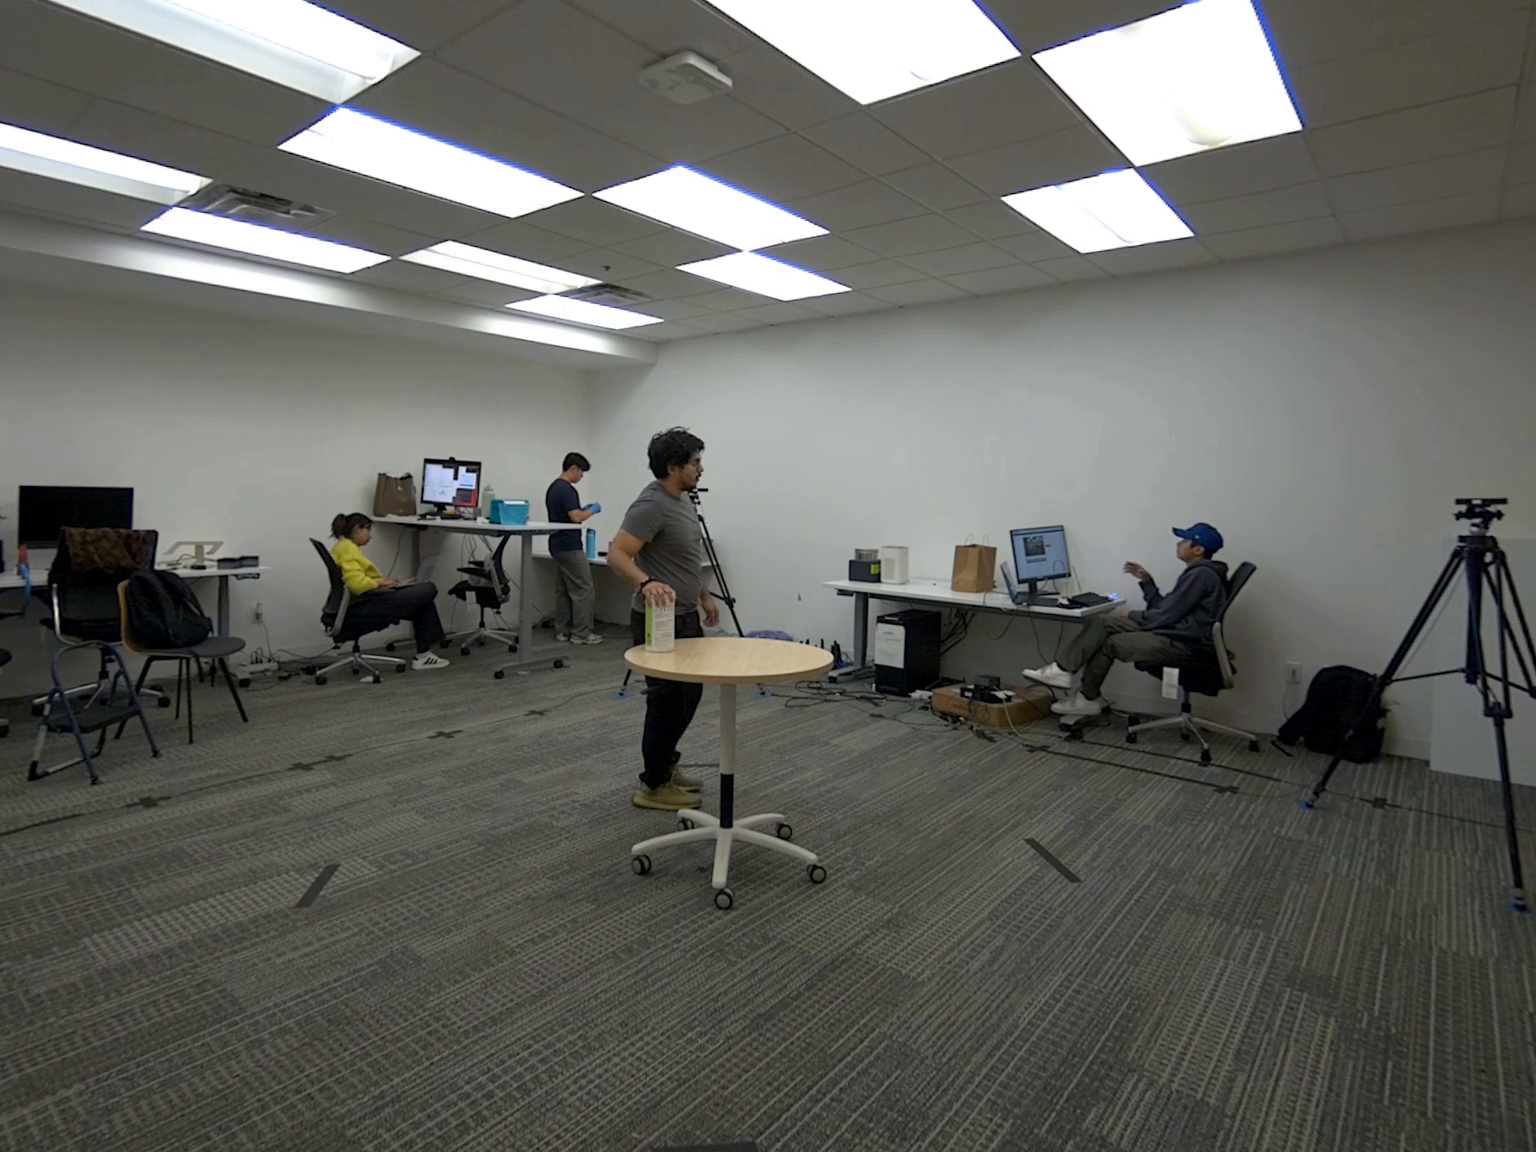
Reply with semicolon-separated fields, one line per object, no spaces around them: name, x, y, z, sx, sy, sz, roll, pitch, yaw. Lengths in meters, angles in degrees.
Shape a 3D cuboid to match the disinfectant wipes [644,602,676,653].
disinfectant wipes;-0.420;0.169;3.198;0.118;0.217;0.118;-2;3;-2
